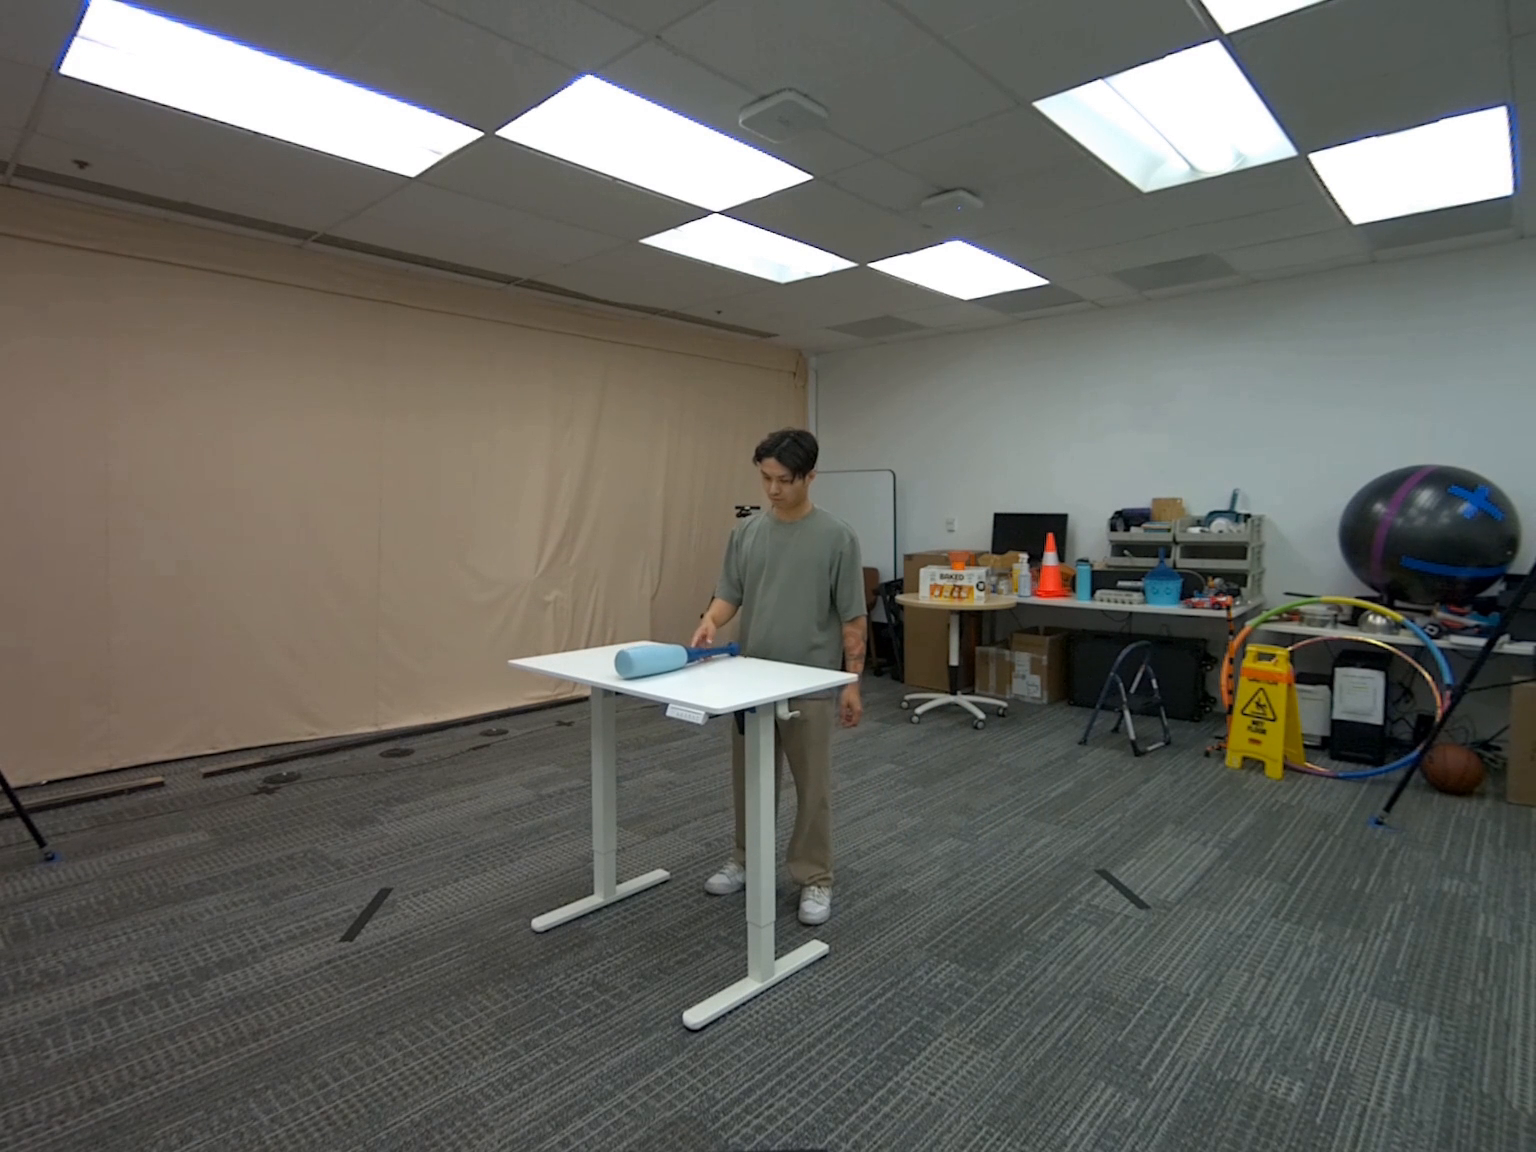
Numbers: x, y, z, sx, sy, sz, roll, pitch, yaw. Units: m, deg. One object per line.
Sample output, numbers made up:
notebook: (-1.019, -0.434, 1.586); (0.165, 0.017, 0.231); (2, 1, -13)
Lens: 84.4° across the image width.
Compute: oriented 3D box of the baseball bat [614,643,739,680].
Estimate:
baseball bat: (-0.268, 0.256, 2.663); (0.092, 0.089, 0.526); (3, 2, 36)
